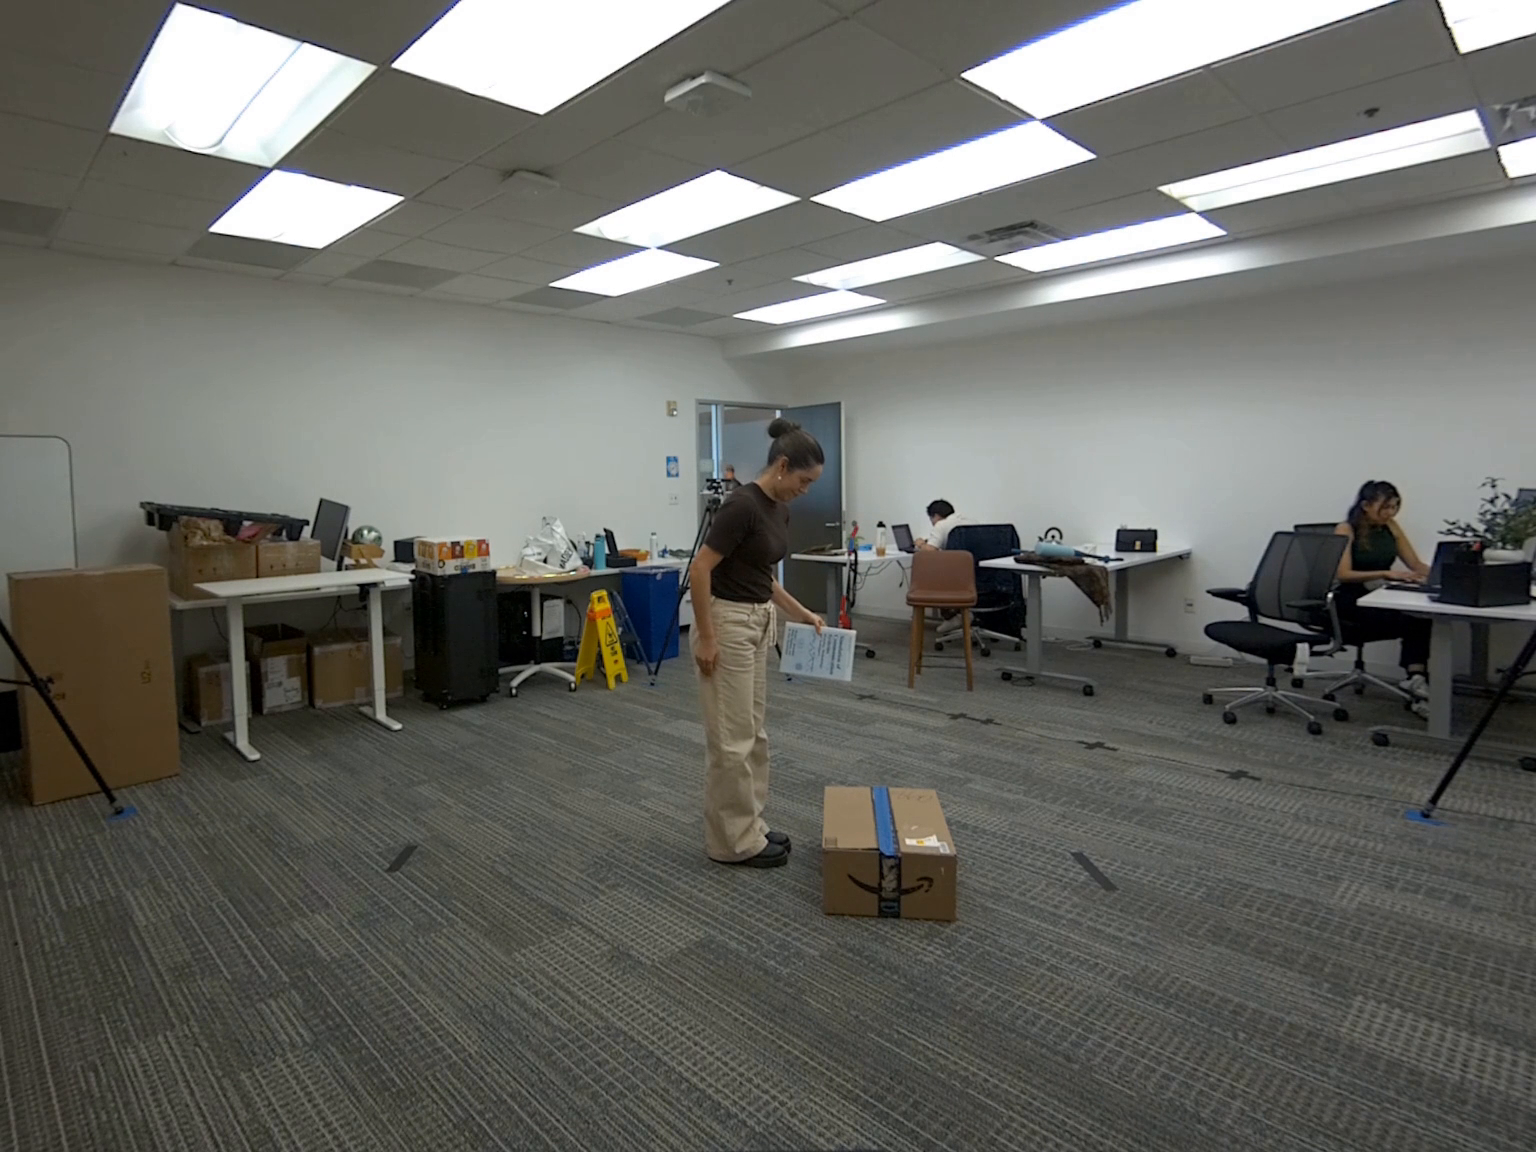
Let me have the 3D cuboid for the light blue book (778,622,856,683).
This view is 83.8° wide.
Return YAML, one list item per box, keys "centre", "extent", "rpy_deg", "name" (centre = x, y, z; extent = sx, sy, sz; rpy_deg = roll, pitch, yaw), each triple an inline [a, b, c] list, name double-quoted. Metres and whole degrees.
- centre: [0.184, 0.282, 3.170]
  extent: [0.263, 0.192, 0.058]
  rpy_deg: [5, -8, 9]
  name: "light blue book"
